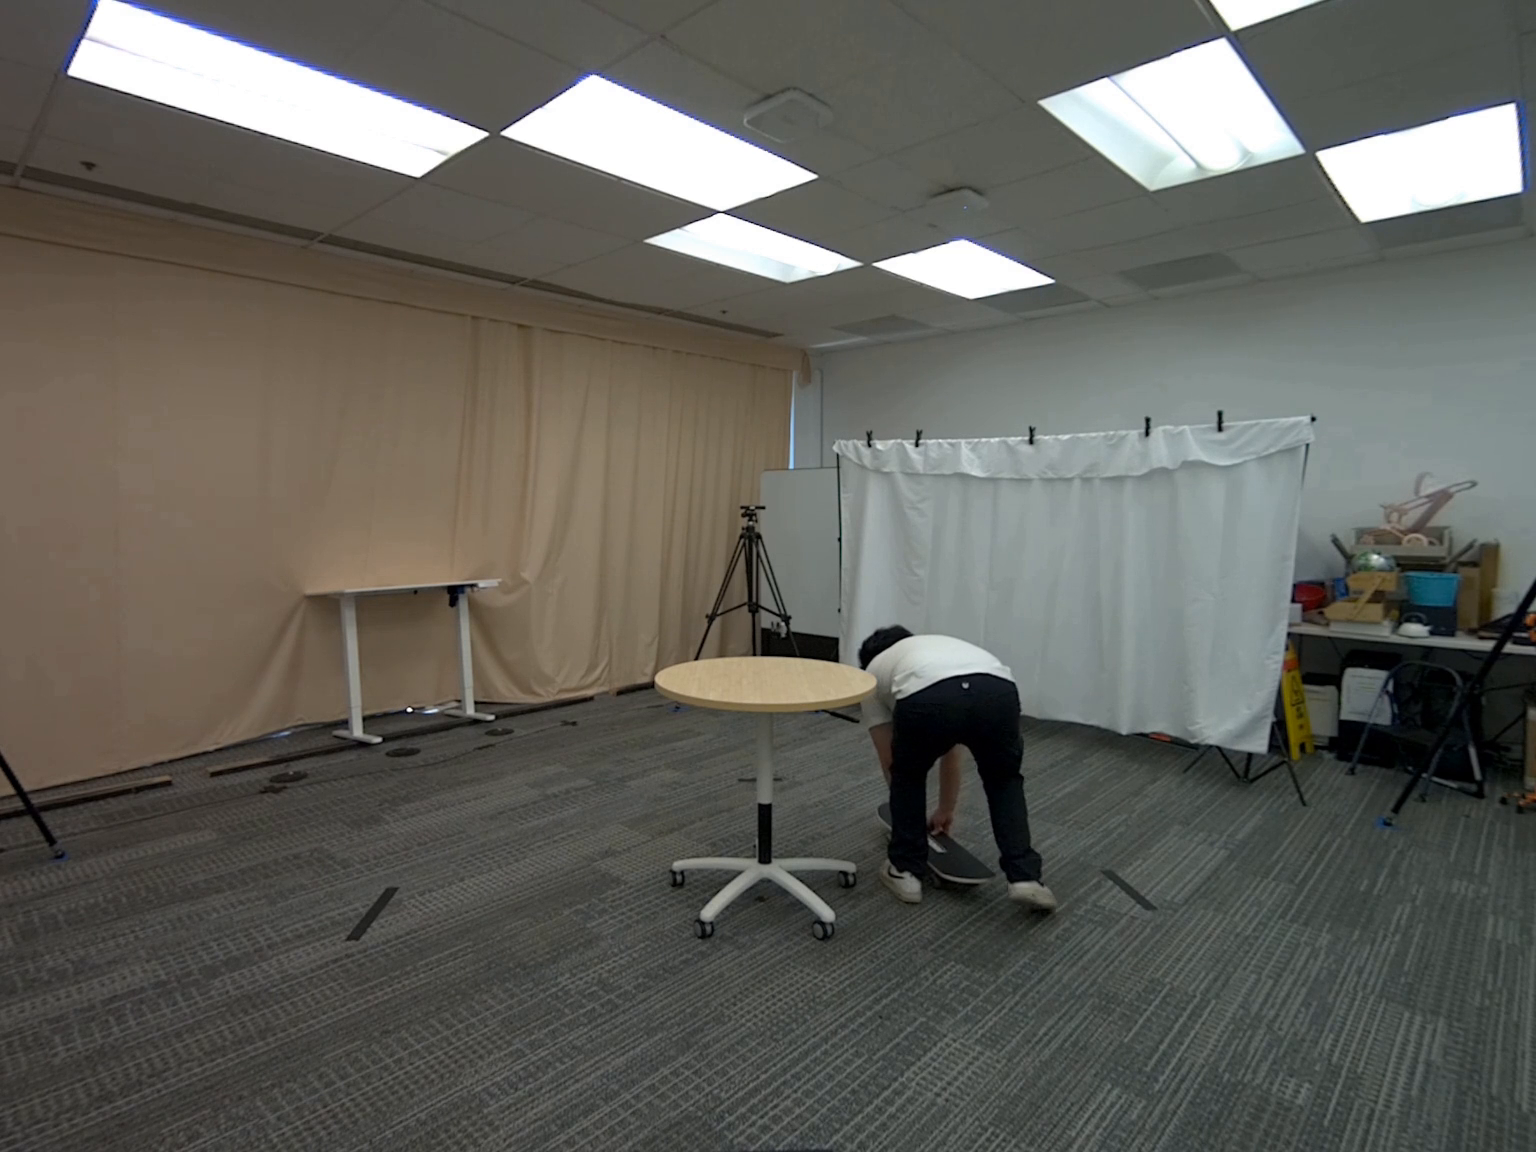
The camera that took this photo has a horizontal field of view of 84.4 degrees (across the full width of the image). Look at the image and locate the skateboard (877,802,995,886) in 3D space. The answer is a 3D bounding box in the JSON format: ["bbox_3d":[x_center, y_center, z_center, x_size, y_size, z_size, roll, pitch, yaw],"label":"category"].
[{"bbox_3d":[0.632,1.064,3.277,0.191,0.110,0.798,-1,5,-14],"label":"skateboard"}]
